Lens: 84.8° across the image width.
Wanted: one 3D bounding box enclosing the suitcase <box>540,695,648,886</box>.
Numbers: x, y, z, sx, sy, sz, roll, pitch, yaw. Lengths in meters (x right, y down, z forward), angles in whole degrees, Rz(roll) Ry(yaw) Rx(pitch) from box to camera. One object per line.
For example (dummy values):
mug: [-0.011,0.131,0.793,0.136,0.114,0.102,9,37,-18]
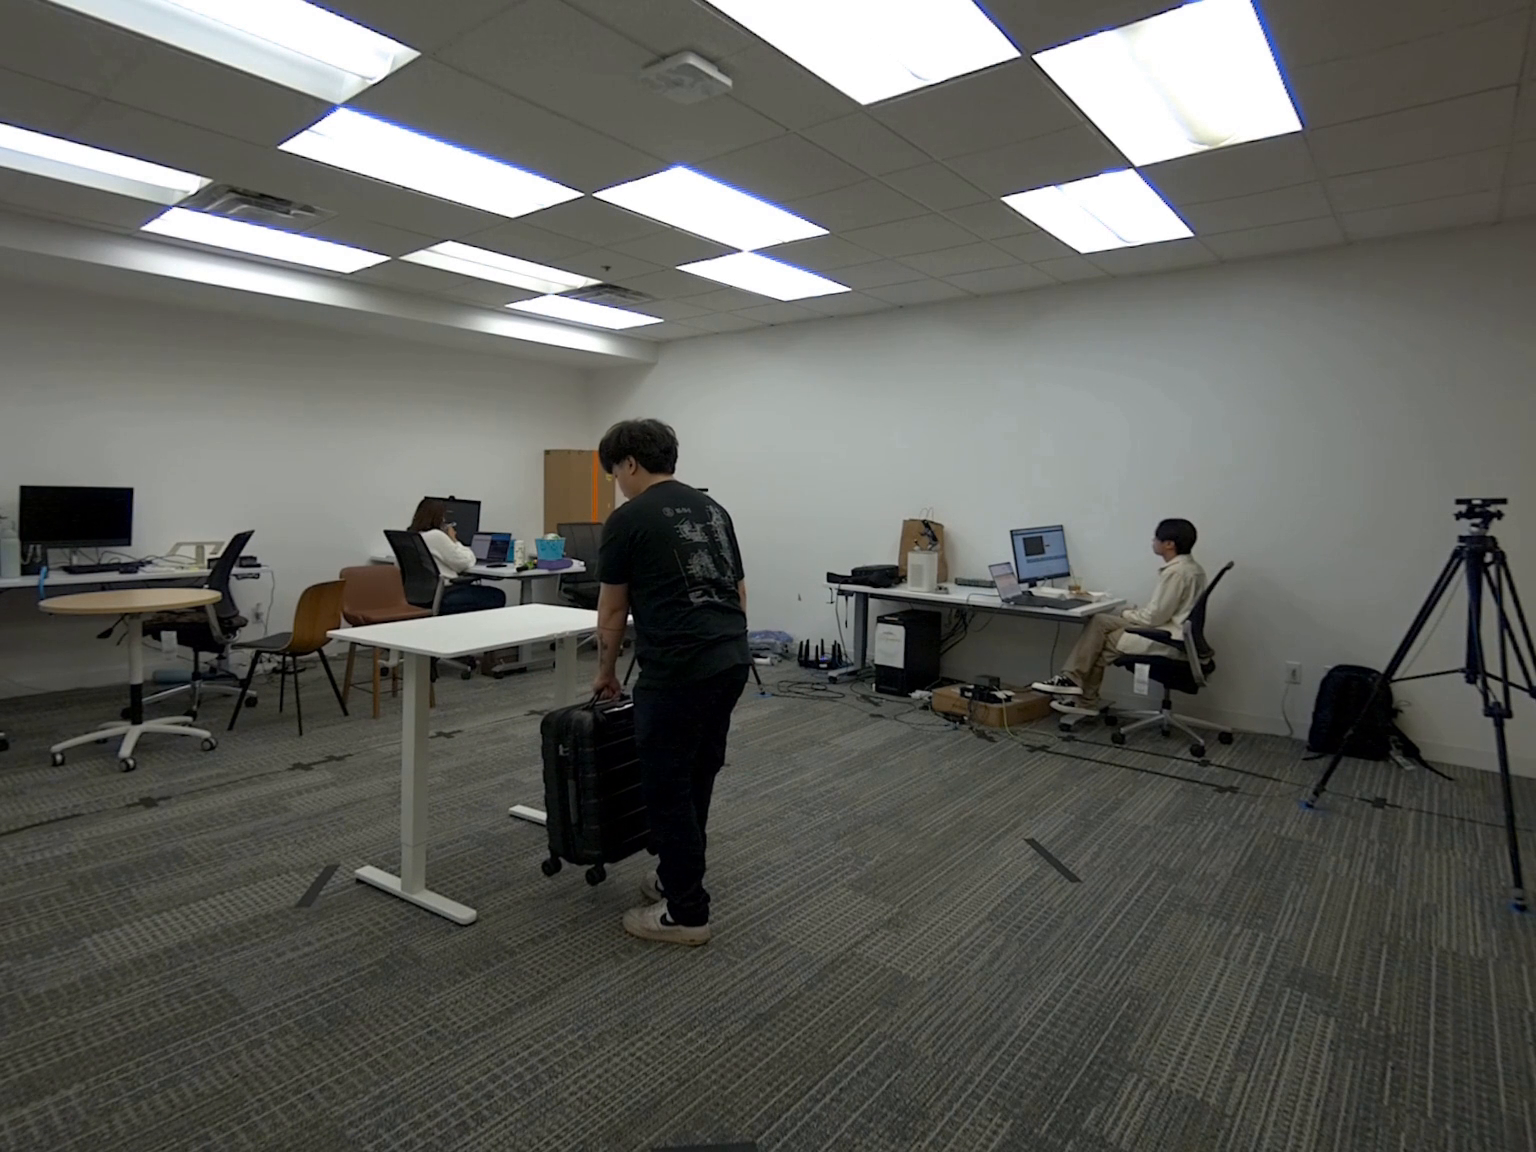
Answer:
suitcase: [-0.574,0.690,2.858,0.255,0.549,0.365,-4,0,36]
